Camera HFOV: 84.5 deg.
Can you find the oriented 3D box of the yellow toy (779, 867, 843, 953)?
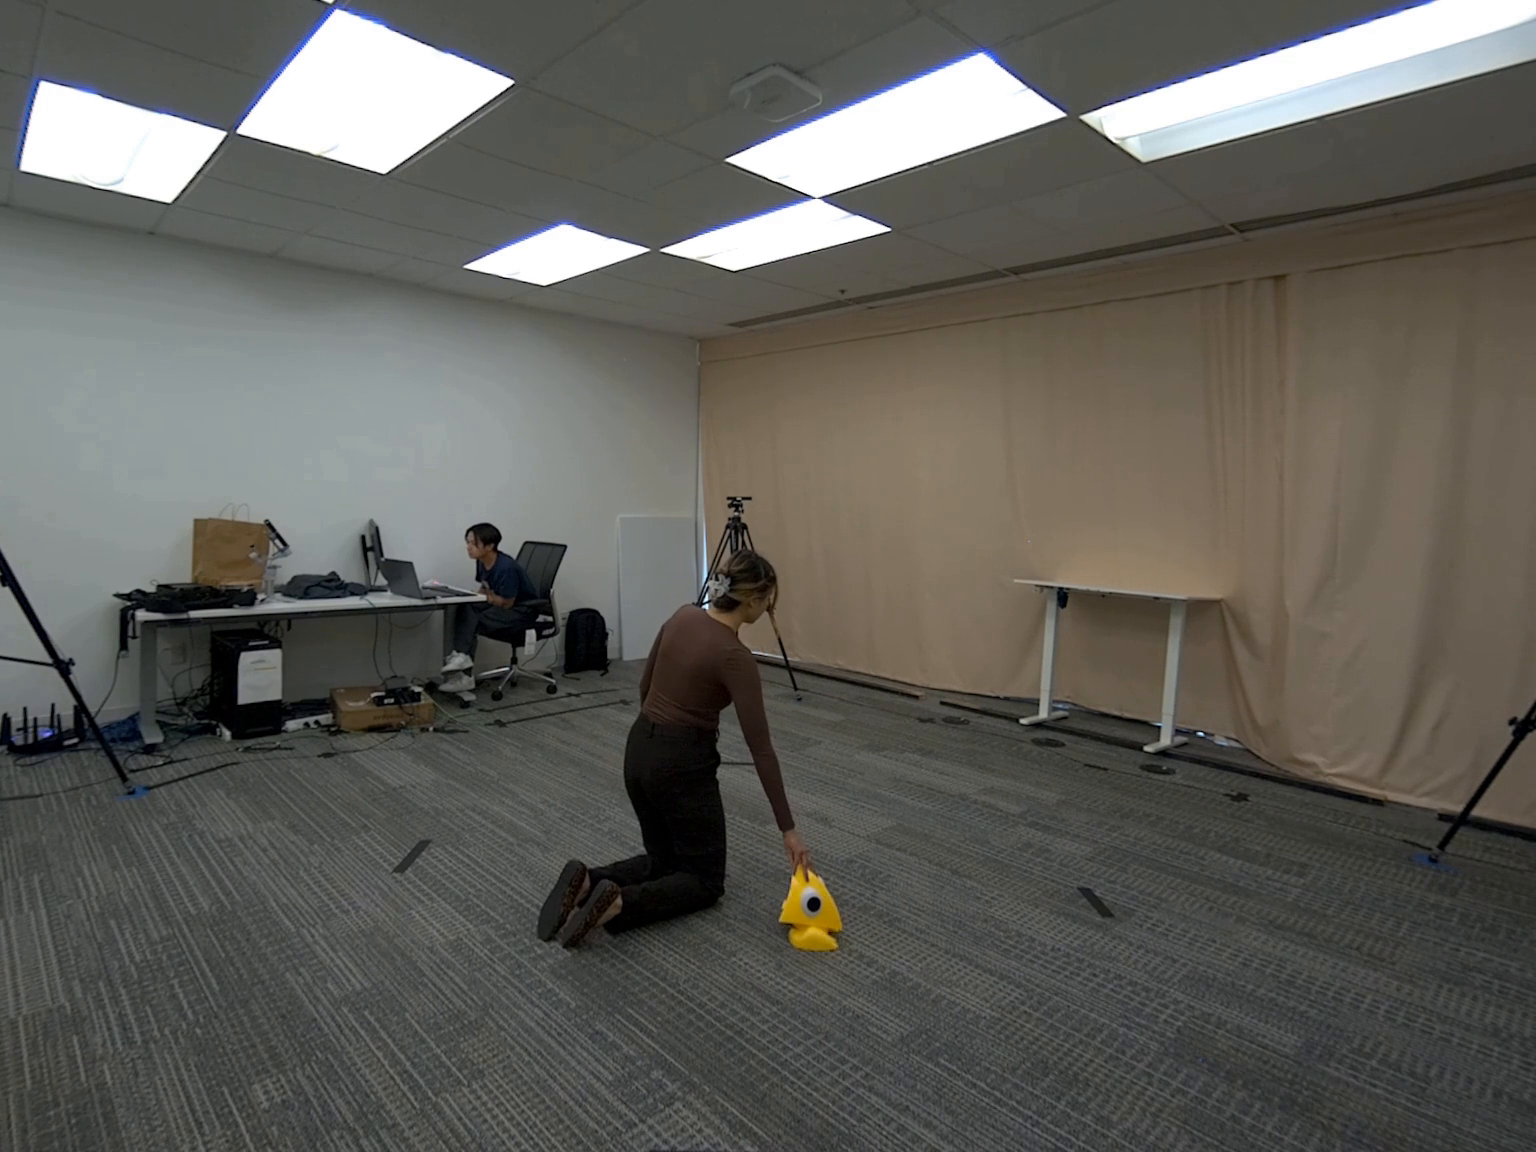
[{"bbox_3d":[0.136,1.037,2.694,0.195,0.230,0.203,2,5,13],"label":"yellow toy"}]
